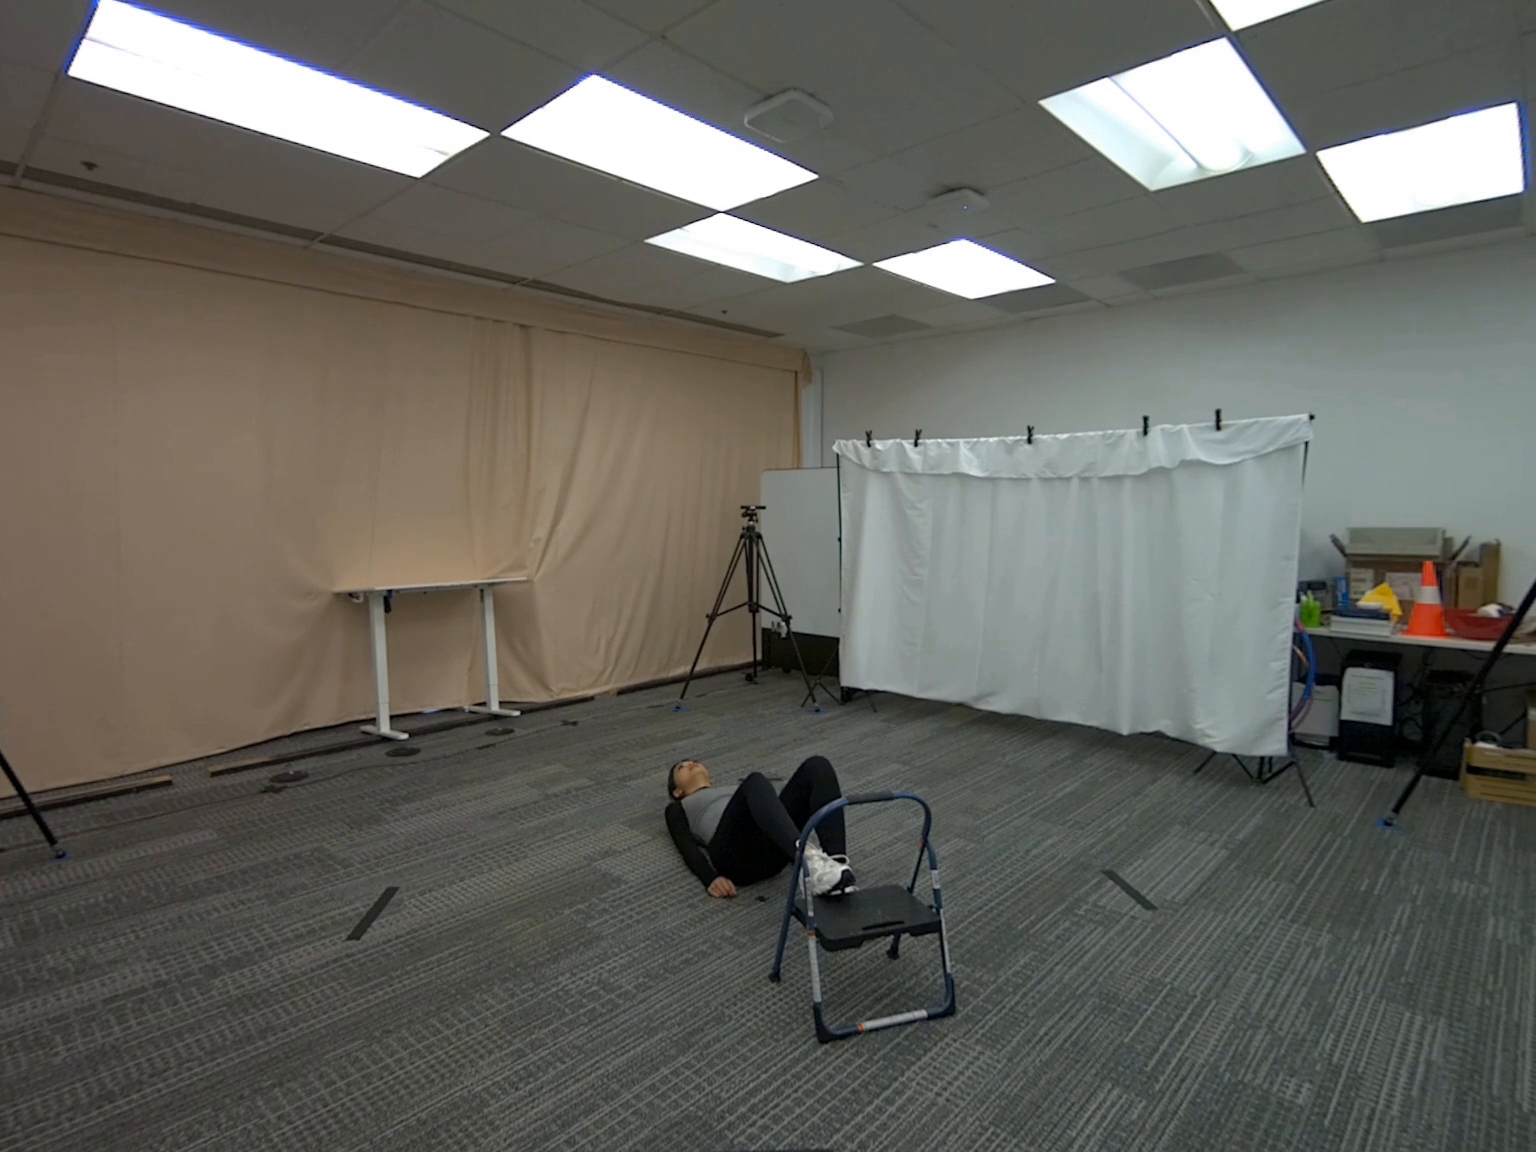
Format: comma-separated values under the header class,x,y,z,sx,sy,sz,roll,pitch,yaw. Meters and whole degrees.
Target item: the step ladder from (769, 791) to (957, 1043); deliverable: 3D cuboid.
class,x,y,z,sx,sy,sz,roll,pitch,yaw
step ladder,0.270,0.893,2.383,0.422,0.605,0.357,-1,3,-21
